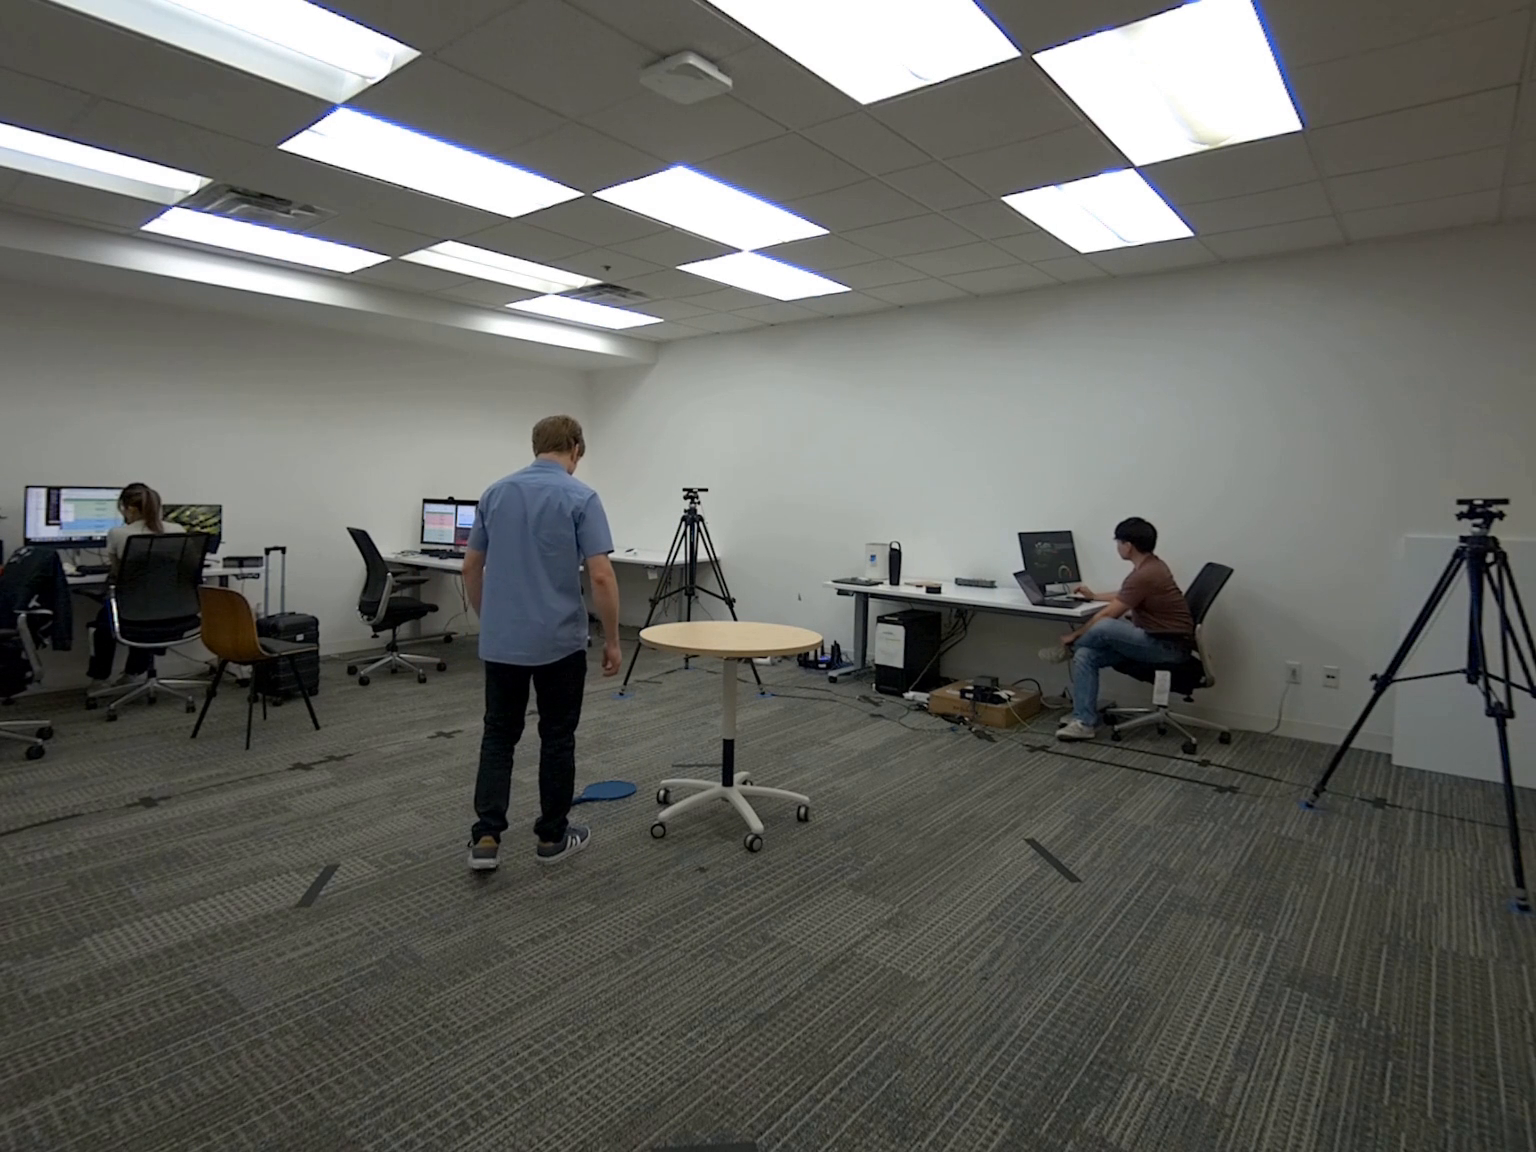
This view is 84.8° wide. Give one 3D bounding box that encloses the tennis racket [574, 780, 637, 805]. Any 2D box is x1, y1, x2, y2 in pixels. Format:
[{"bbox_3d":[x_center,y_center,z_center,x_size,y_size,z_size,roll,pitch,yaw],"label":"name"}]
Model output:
[{"bbox_3d":[-0.789,0.977,3.830,0.221,0.031,0.420,6,6,40],"label":"tennis racket"}]
